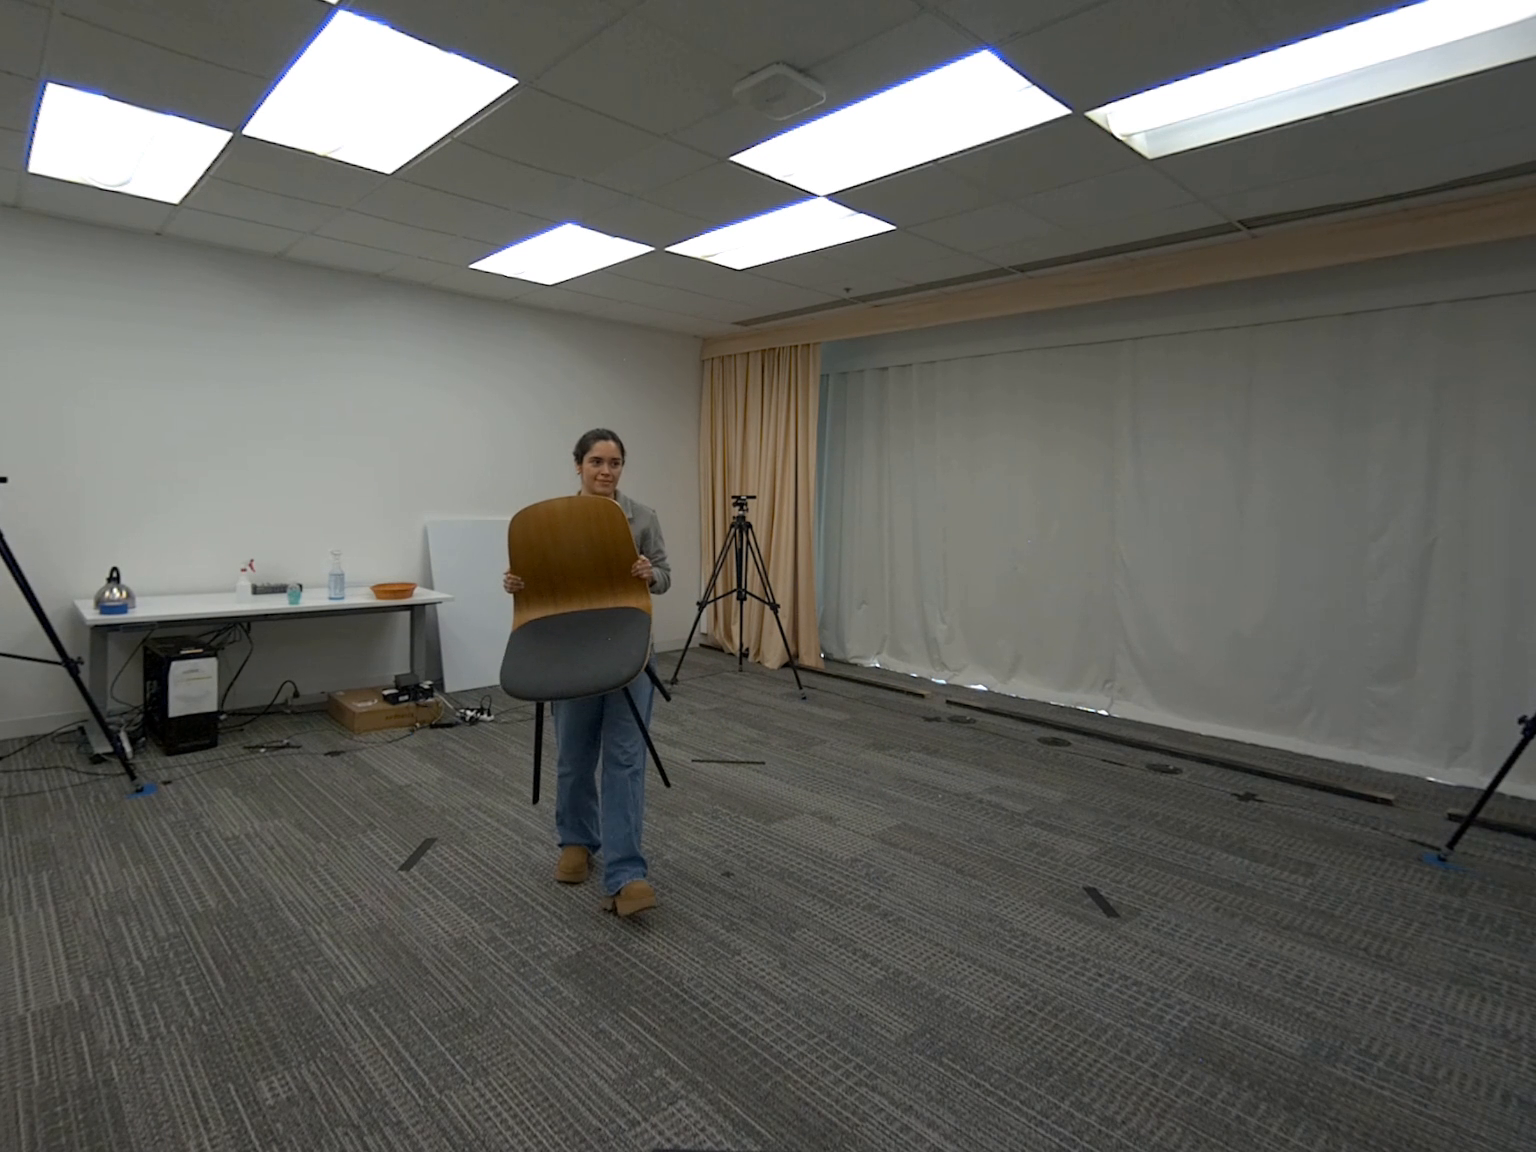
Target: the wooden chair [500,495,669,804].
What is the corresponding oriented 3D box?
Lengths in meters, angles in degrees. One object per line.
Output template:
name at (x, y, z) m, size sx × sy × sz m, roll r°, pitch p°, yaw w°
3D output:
wooden chair at (-0.601, 0.246, 2.709) m, size 0.478 × 0.861 × 0.533 m, roll -6°, pitch 25°, yaw 0°
